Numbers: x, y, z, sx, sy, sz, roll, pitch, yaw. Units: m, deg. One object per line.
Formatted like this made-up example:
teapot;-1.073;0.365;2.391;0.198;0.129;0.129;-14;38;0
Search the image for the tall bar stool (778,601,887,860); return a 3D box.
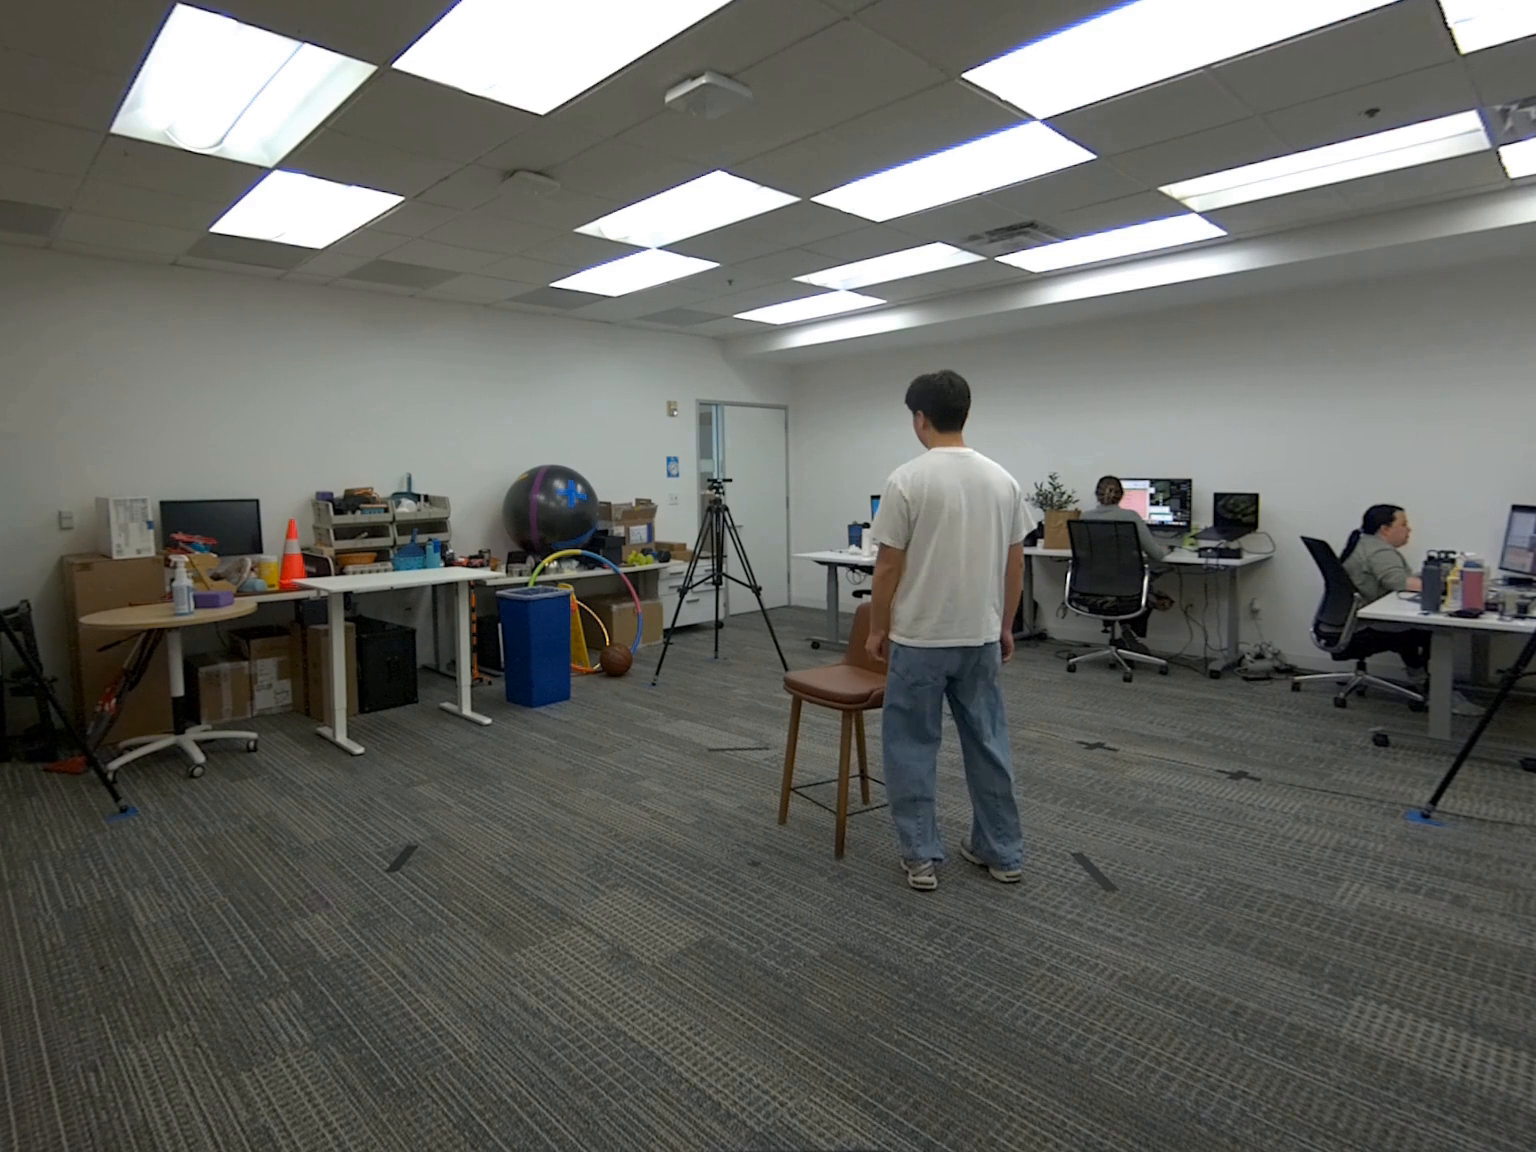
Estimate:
tall bar stool;0.333;0.572;3.390;0.456;0.887;0.469;-2;4;-31
